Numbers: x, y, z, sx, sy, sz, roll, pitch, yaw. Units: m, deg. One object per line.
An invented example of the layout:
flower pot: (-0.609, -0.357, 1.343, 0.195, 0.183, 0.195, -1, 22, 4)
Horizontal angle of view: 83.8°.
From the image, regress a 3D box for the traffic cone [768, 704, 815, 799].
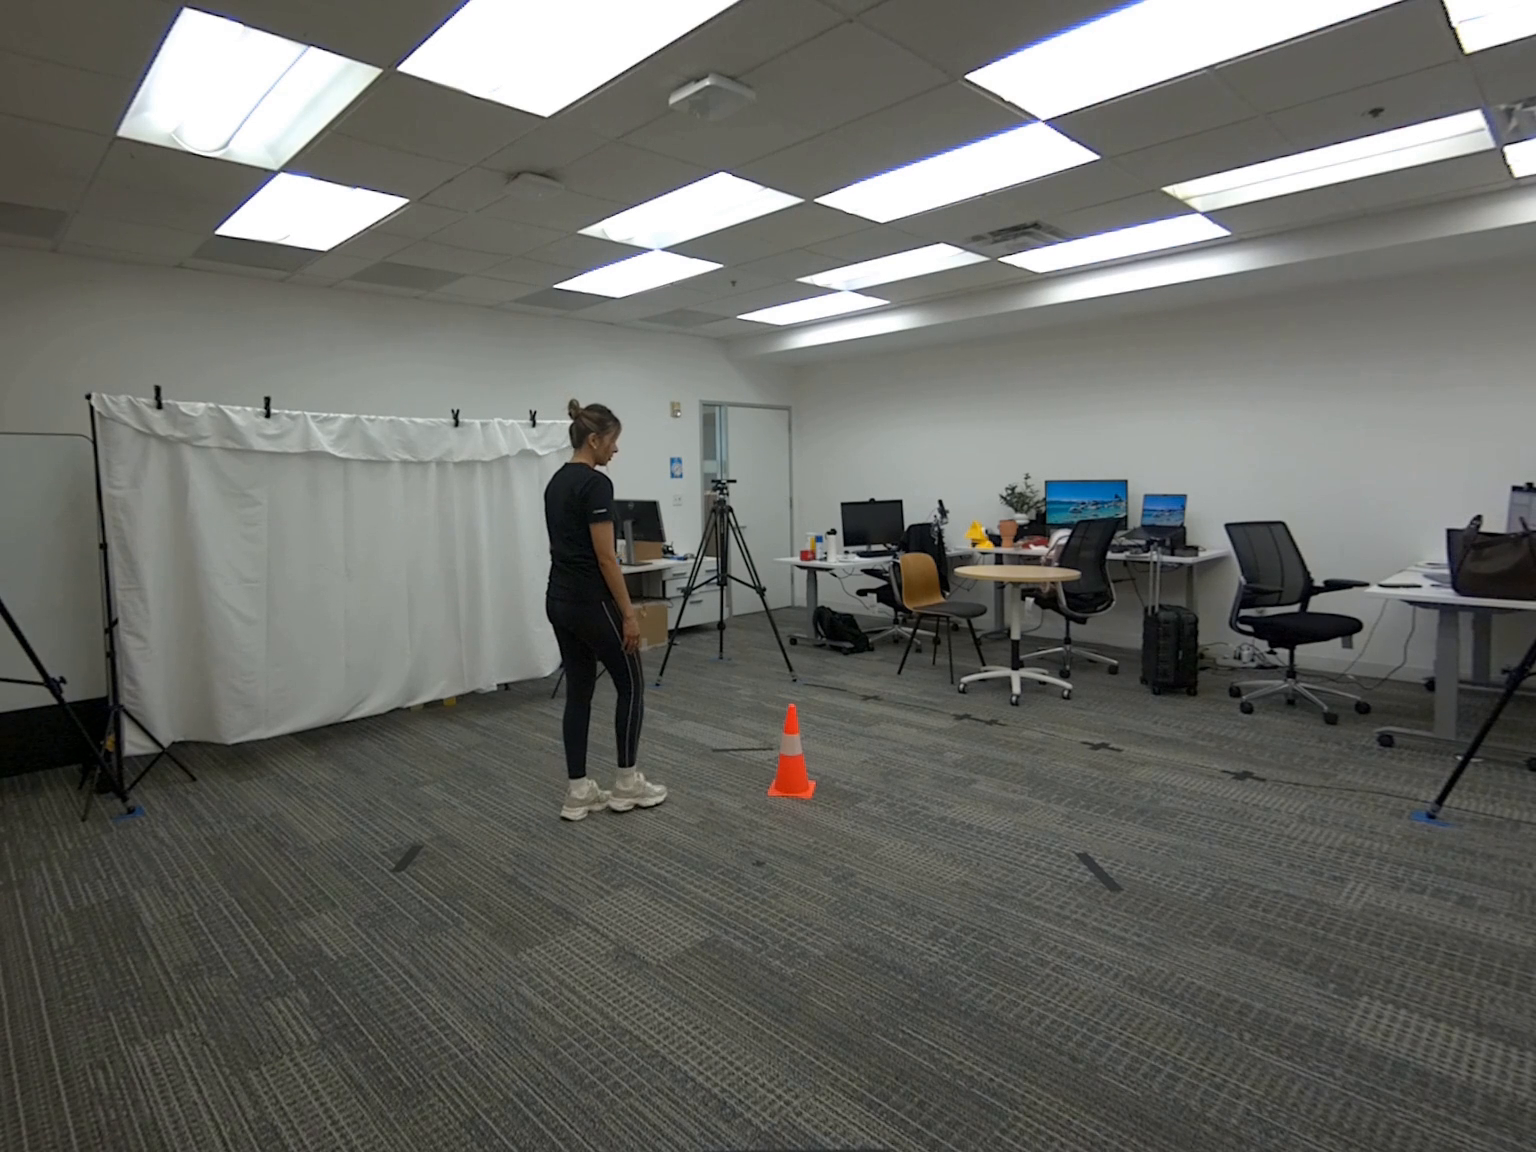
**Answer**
traffic cone: (0.111, 0.779, 3.850, 0.206, 0.382, 0.203, 2, 4, 11)
